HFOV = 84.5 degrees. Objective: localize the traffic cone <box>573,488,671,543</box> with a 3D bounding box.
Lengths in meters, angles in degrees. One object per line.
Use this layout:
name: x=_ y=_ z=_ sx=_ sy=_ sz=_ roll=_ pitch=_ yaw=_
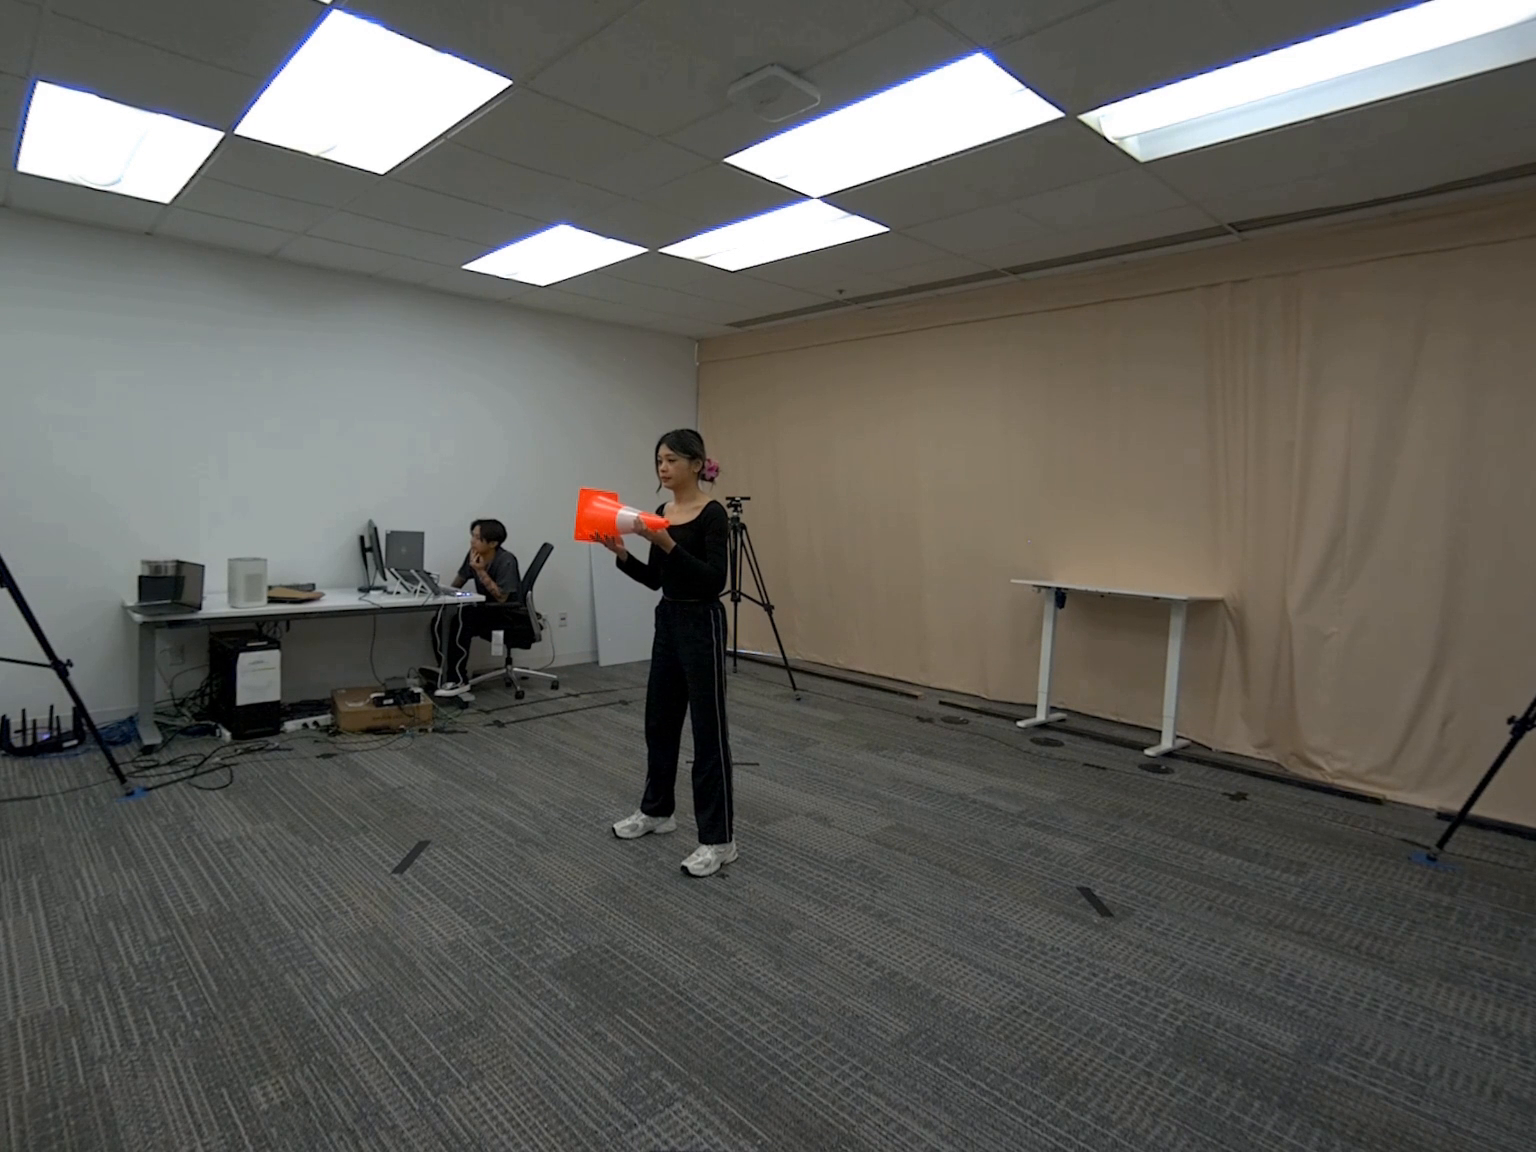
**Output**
traffic cone: x=-0.510 y=-0.201 z=3.061 sx=0.393 sy=0.205 sz=0.198 roll=7 pitch=0 yaw=38
